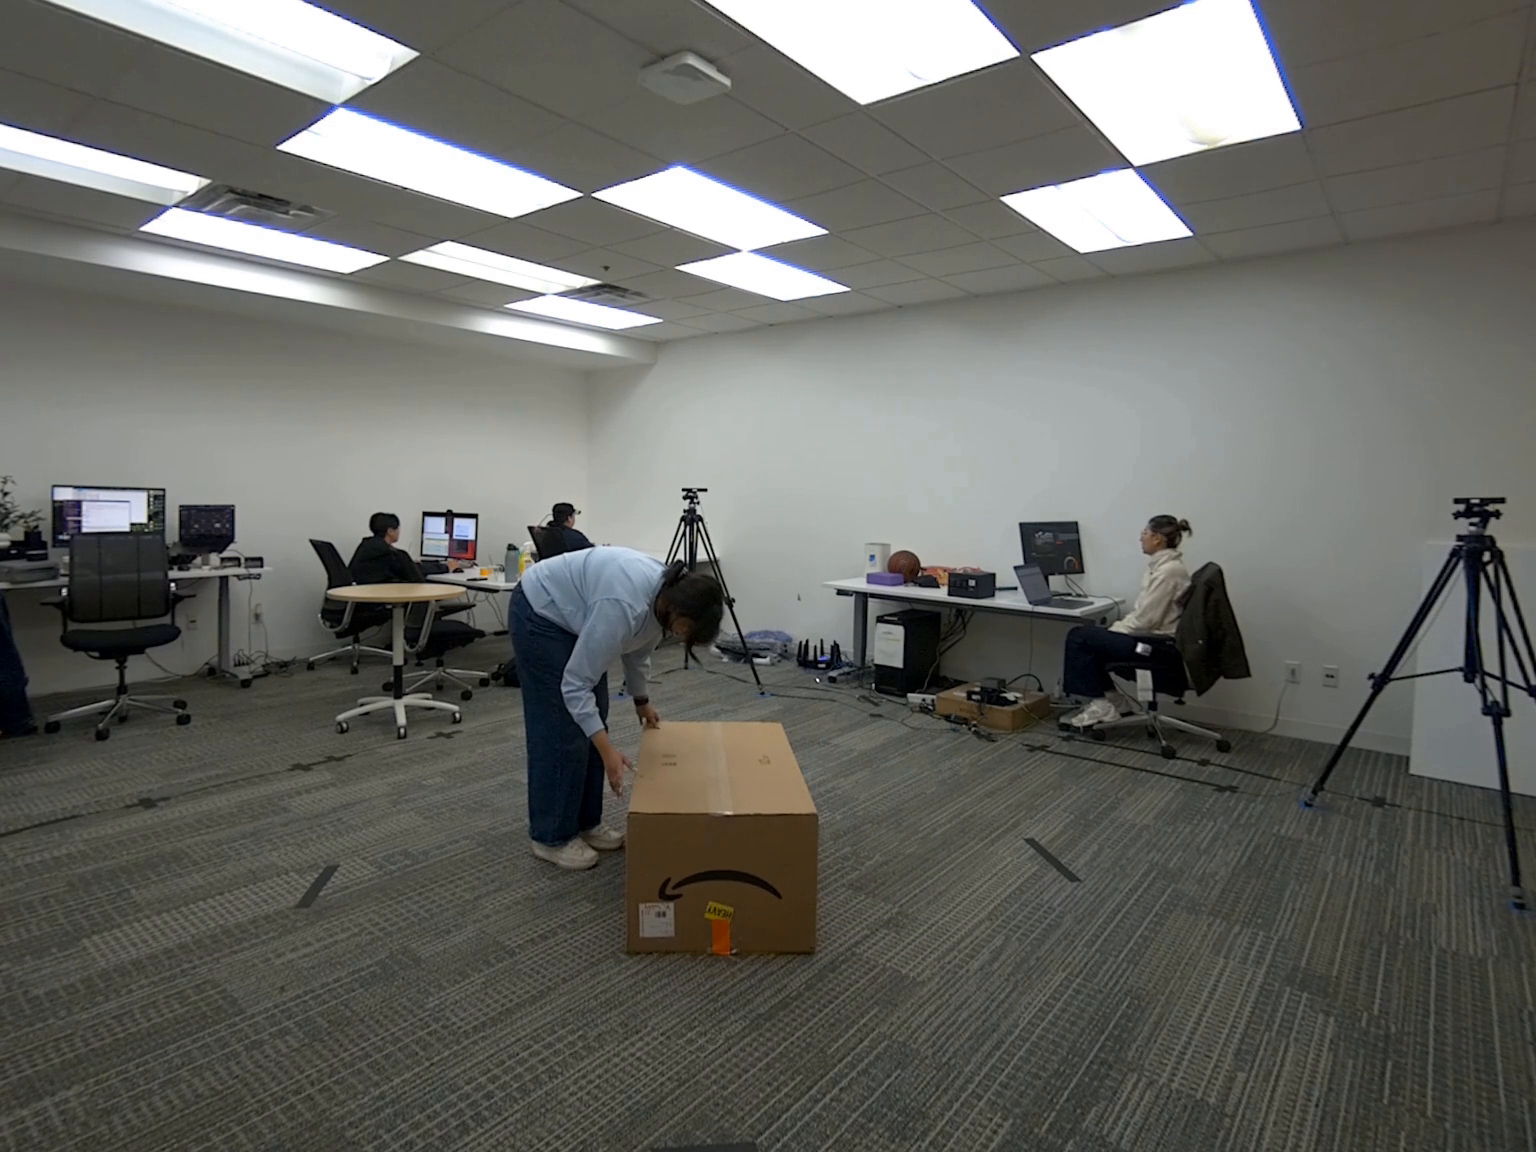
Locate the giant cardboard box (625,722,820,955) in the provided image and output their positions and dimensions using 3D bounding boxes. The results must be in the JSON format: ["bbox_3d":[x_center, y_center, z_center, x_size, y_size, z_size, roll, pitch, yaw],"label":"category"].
[{"bbox_3d":[-0.191,0.864,3.029,0.575,0.425,1.033,0,5,-4],"label":"giant cardboard box"}]
